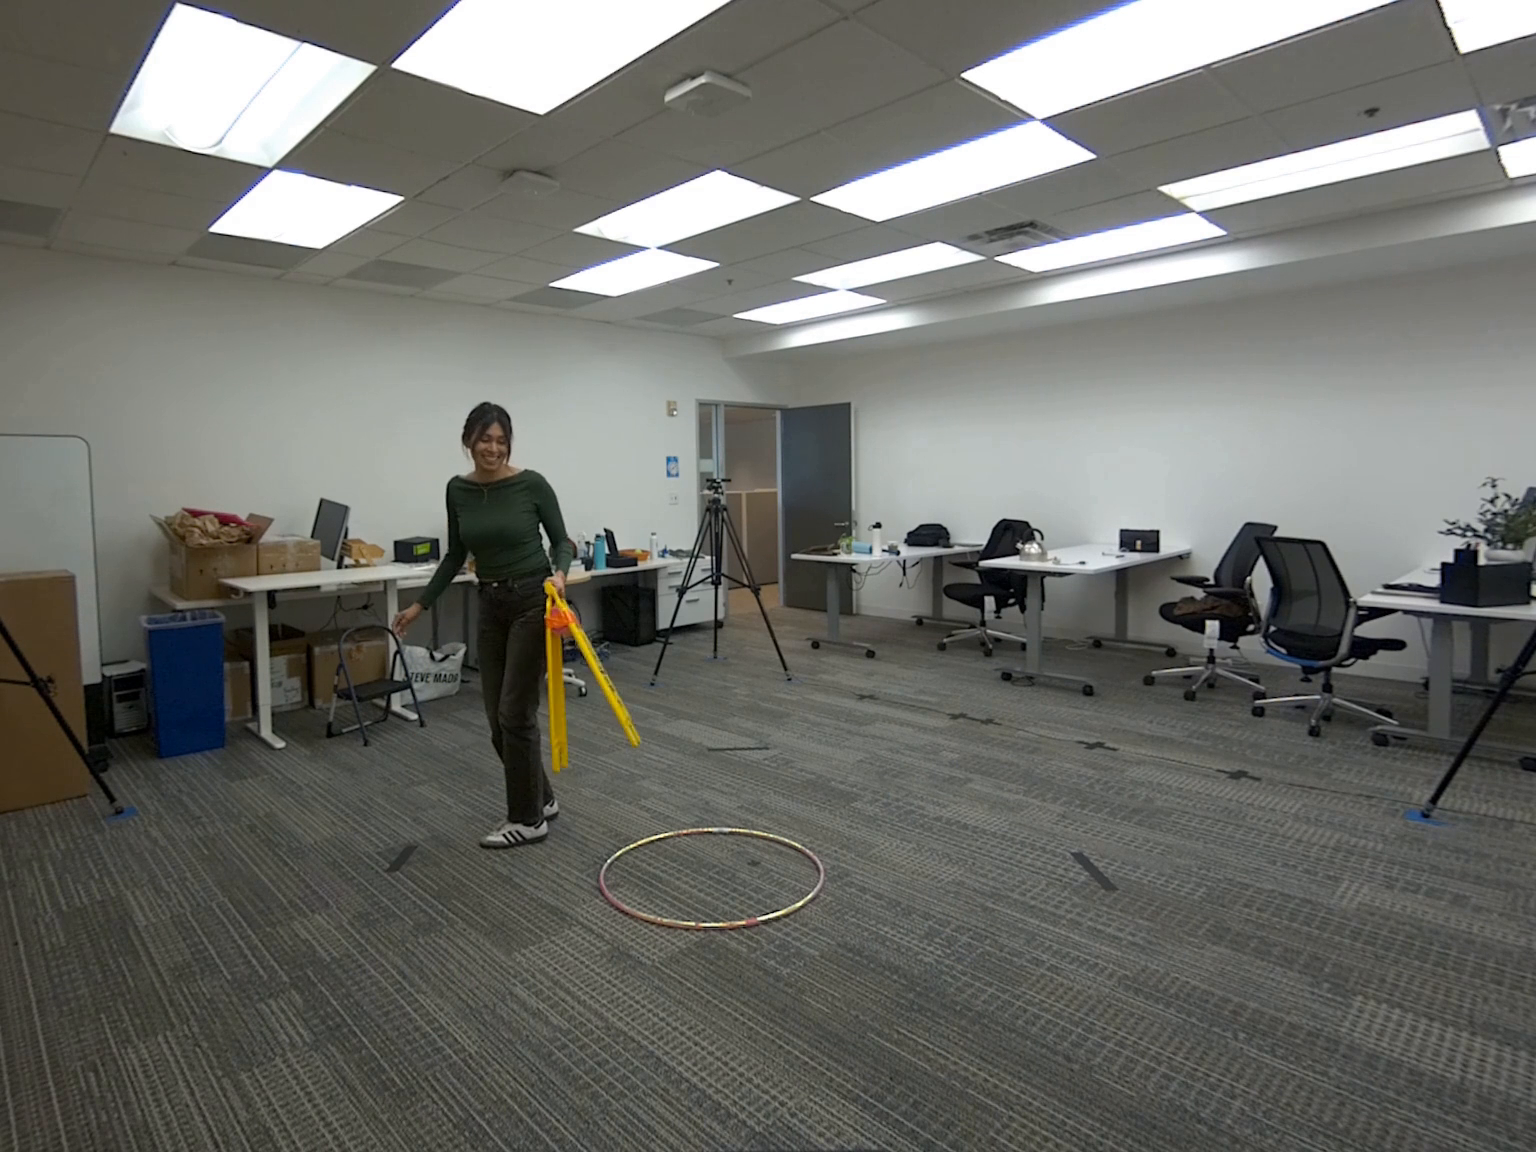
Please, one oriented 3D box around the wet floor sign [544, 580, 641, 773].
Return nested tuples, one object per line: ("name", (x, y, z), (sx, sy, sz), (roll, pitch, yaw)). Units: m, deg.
("wet floor sign", (-0.718, 0.341, 3.069), (0.289, 0.654, 0.280), (-17, -10, -5))
